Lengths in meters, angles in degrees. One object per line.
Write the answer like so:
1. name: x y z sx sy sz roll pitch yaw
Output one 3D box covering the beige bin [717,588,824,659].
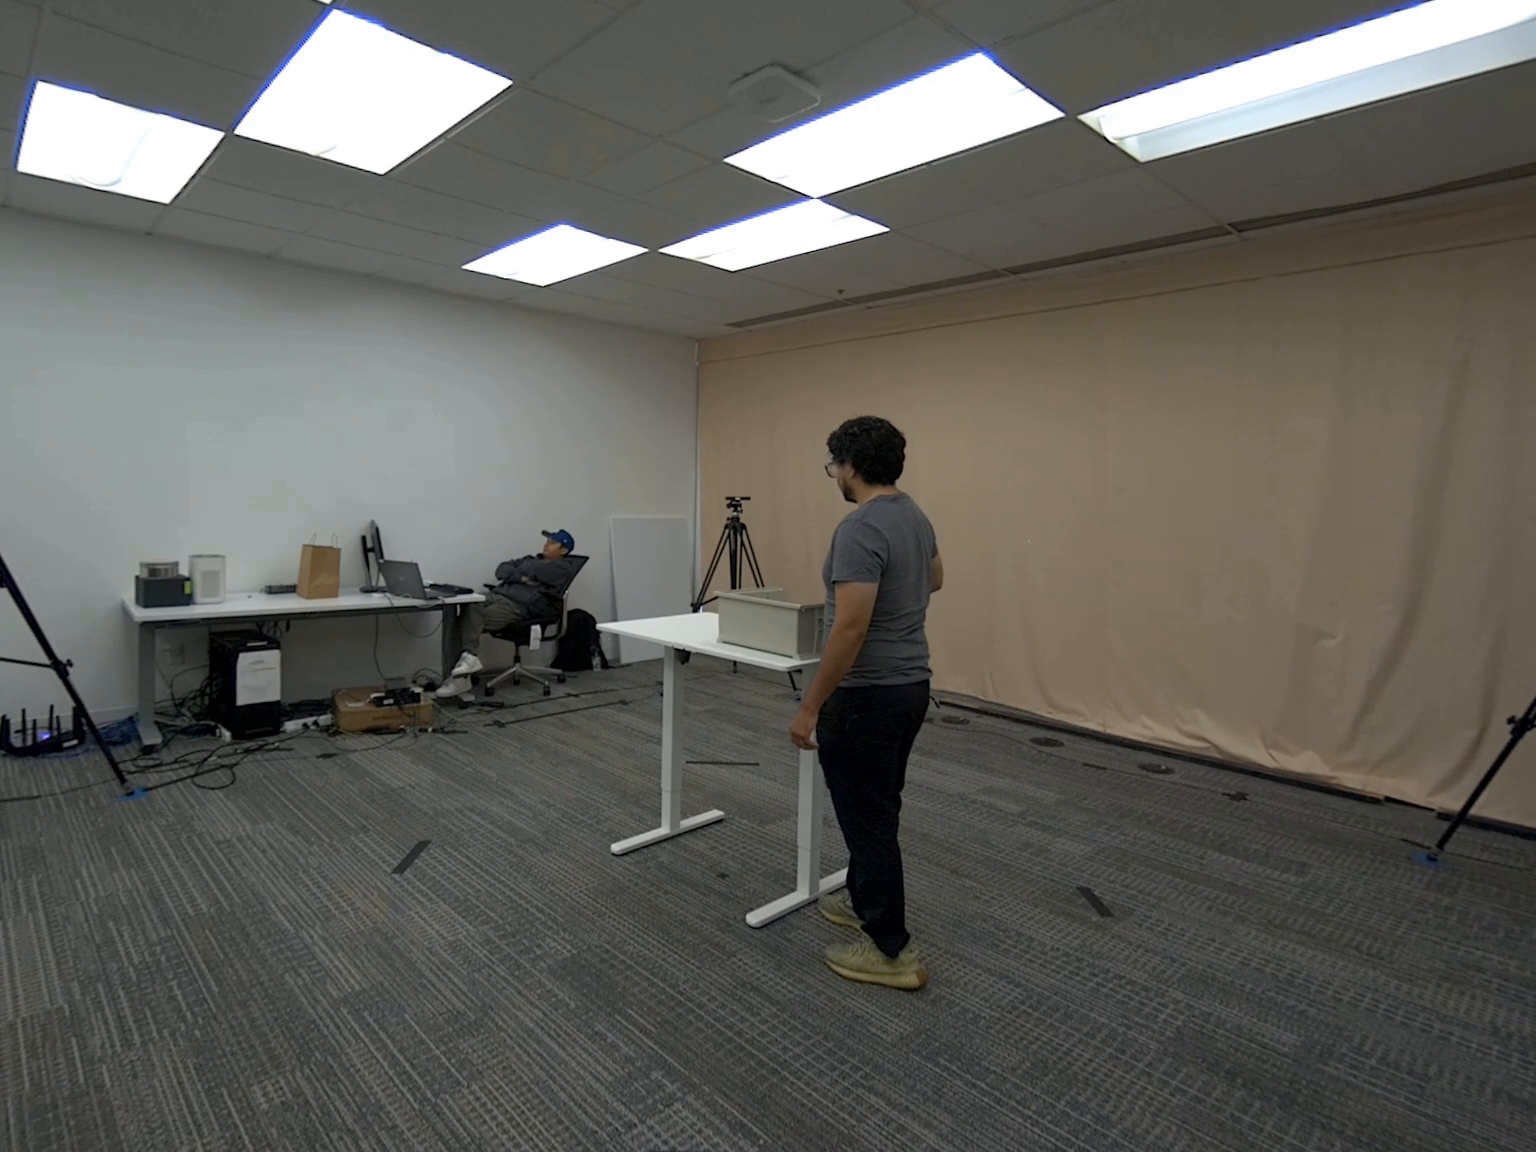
1. beige bin: 0.084 0.156 2.943 0.369 0.188 0.433 -6 9 -43
